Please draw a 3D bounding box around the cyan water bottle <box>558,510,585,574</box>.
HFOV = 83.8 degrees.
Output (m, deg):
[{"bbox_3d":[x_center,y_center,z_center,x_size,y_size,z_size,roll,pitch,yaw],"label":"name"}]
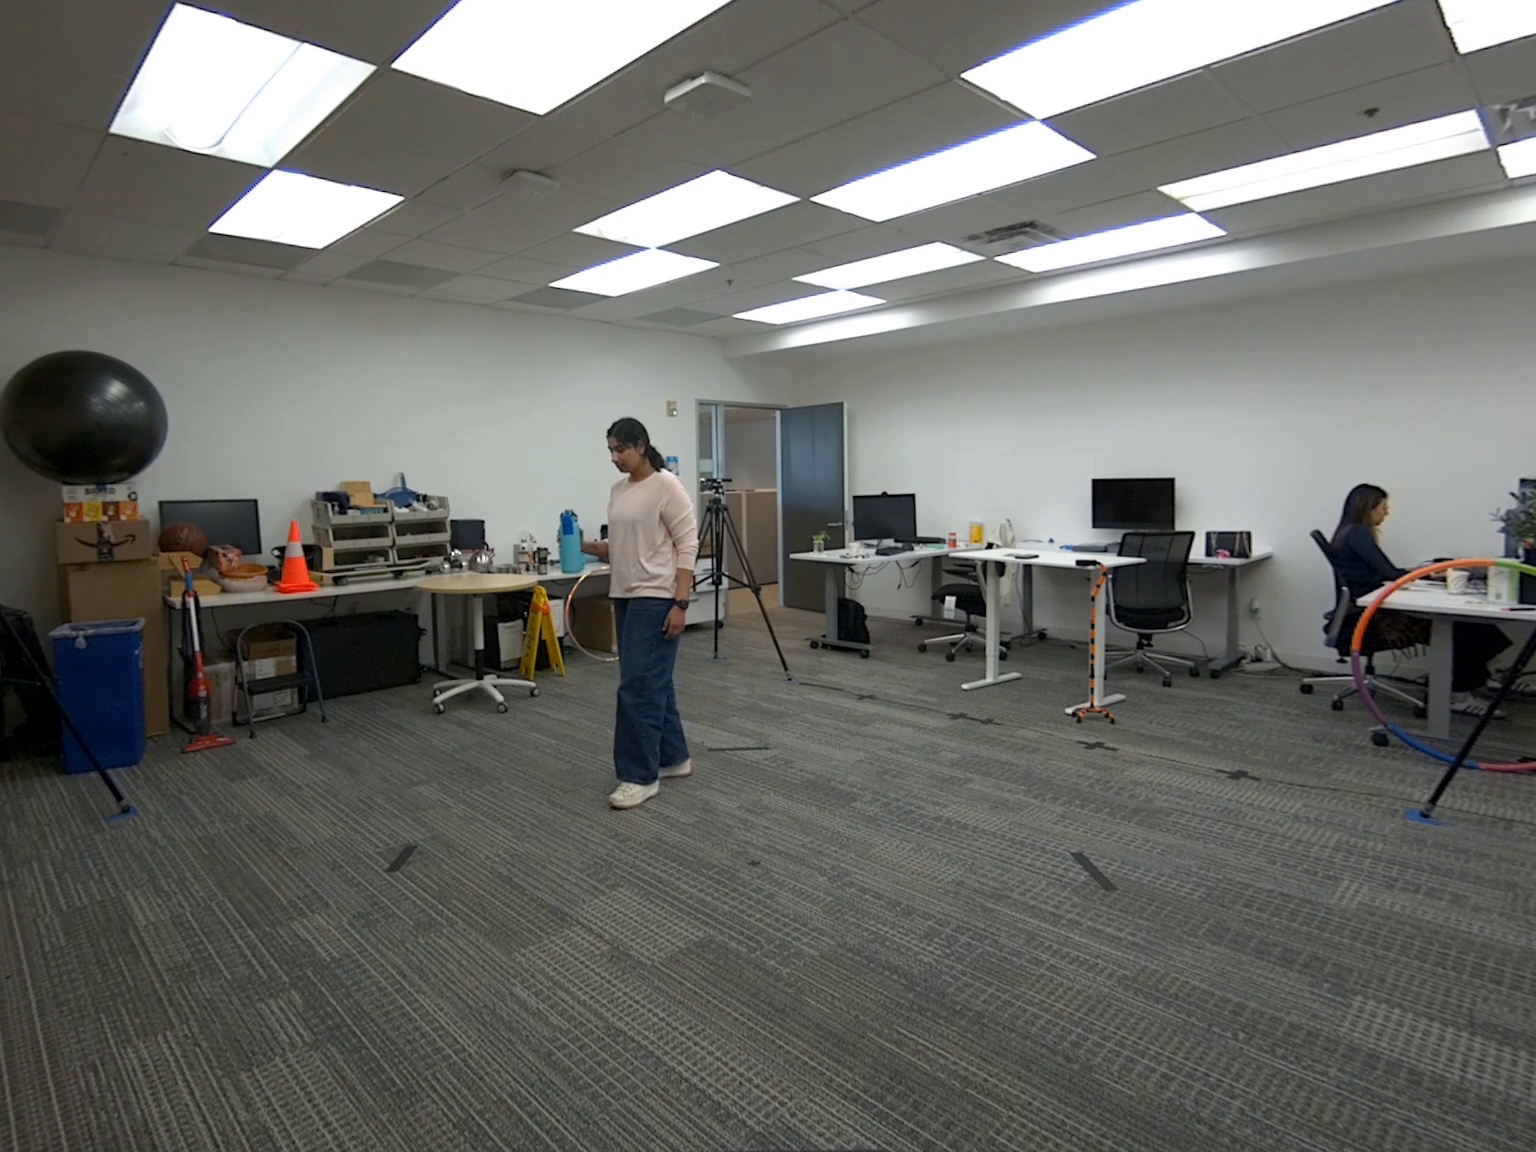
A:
[{"bbox_3d":[-0.898,-0.155,3.824,0.092,0.282,0.093,0,6,-2],"label":"cyan water bottle"}]
